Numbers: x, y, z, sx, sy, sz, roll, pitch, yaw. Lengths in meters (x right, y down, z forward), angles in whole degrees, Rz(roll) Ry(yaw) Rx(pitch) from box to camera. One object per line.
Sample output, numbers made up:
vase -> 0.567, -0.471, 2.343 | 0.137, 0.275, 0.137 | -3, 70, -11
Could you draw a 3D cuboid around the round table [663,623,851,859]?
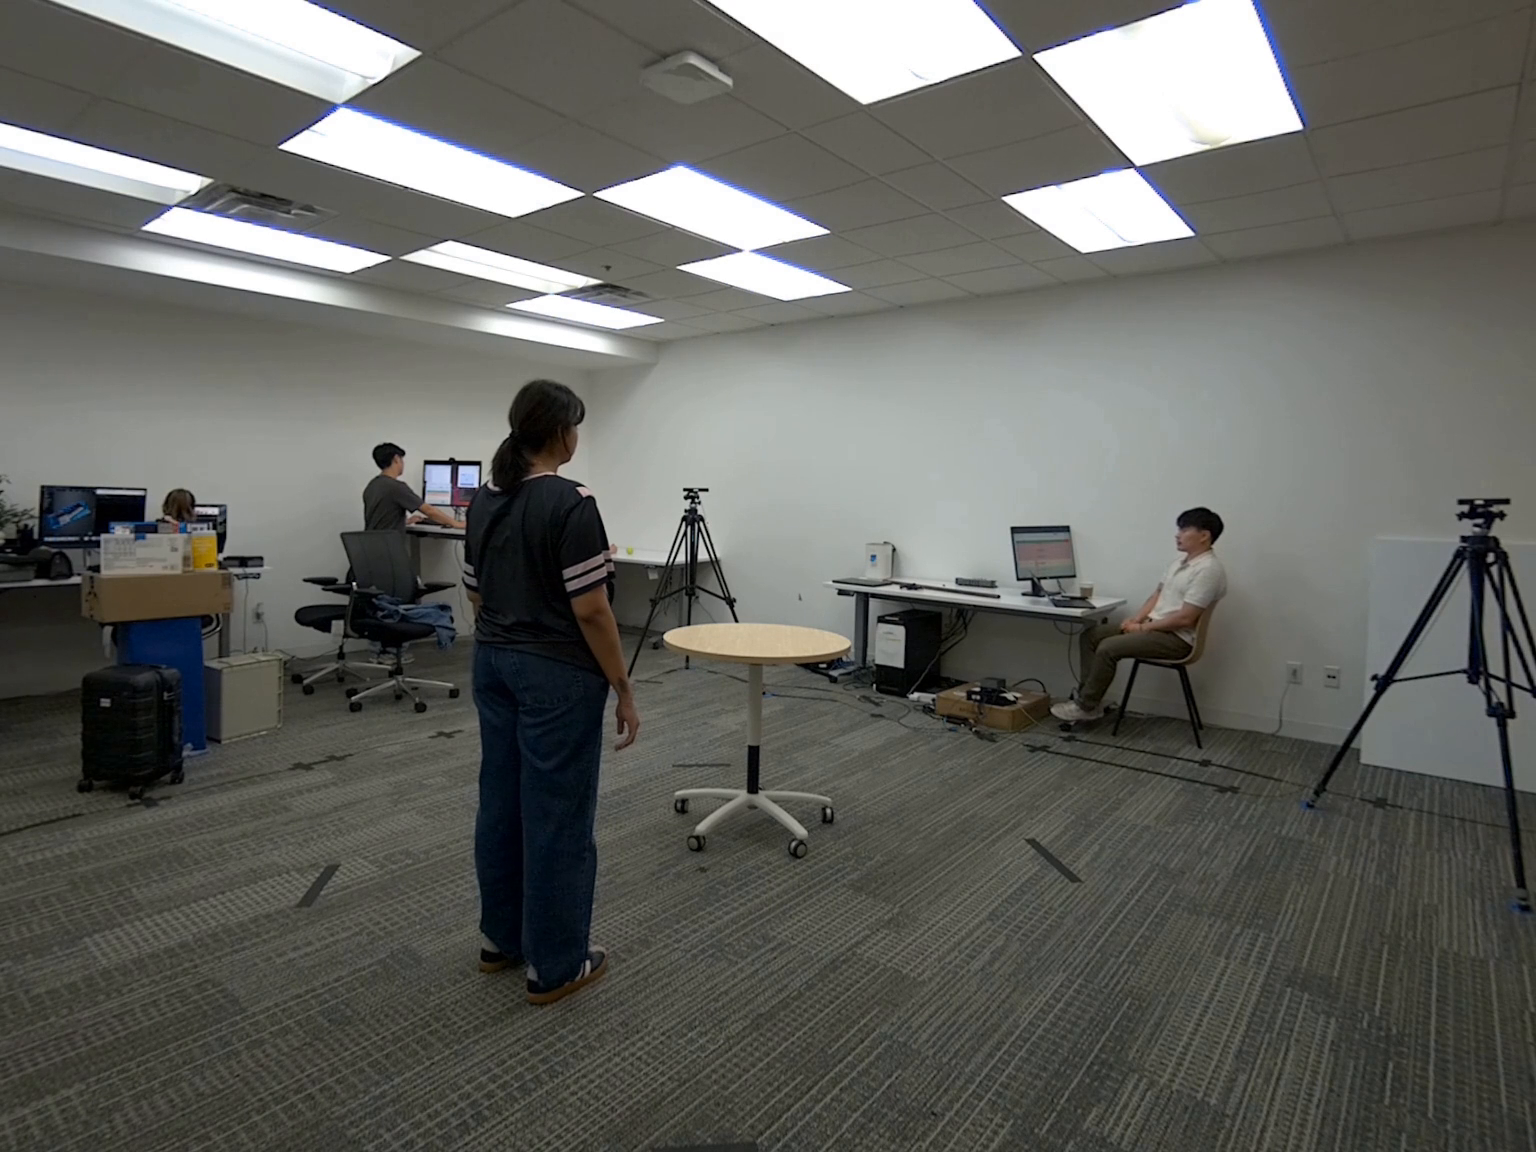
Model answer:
round table -> -0.081, 0.641, 3.499 | 0.784, 0.784, 0.788 | 2, 4, -2
